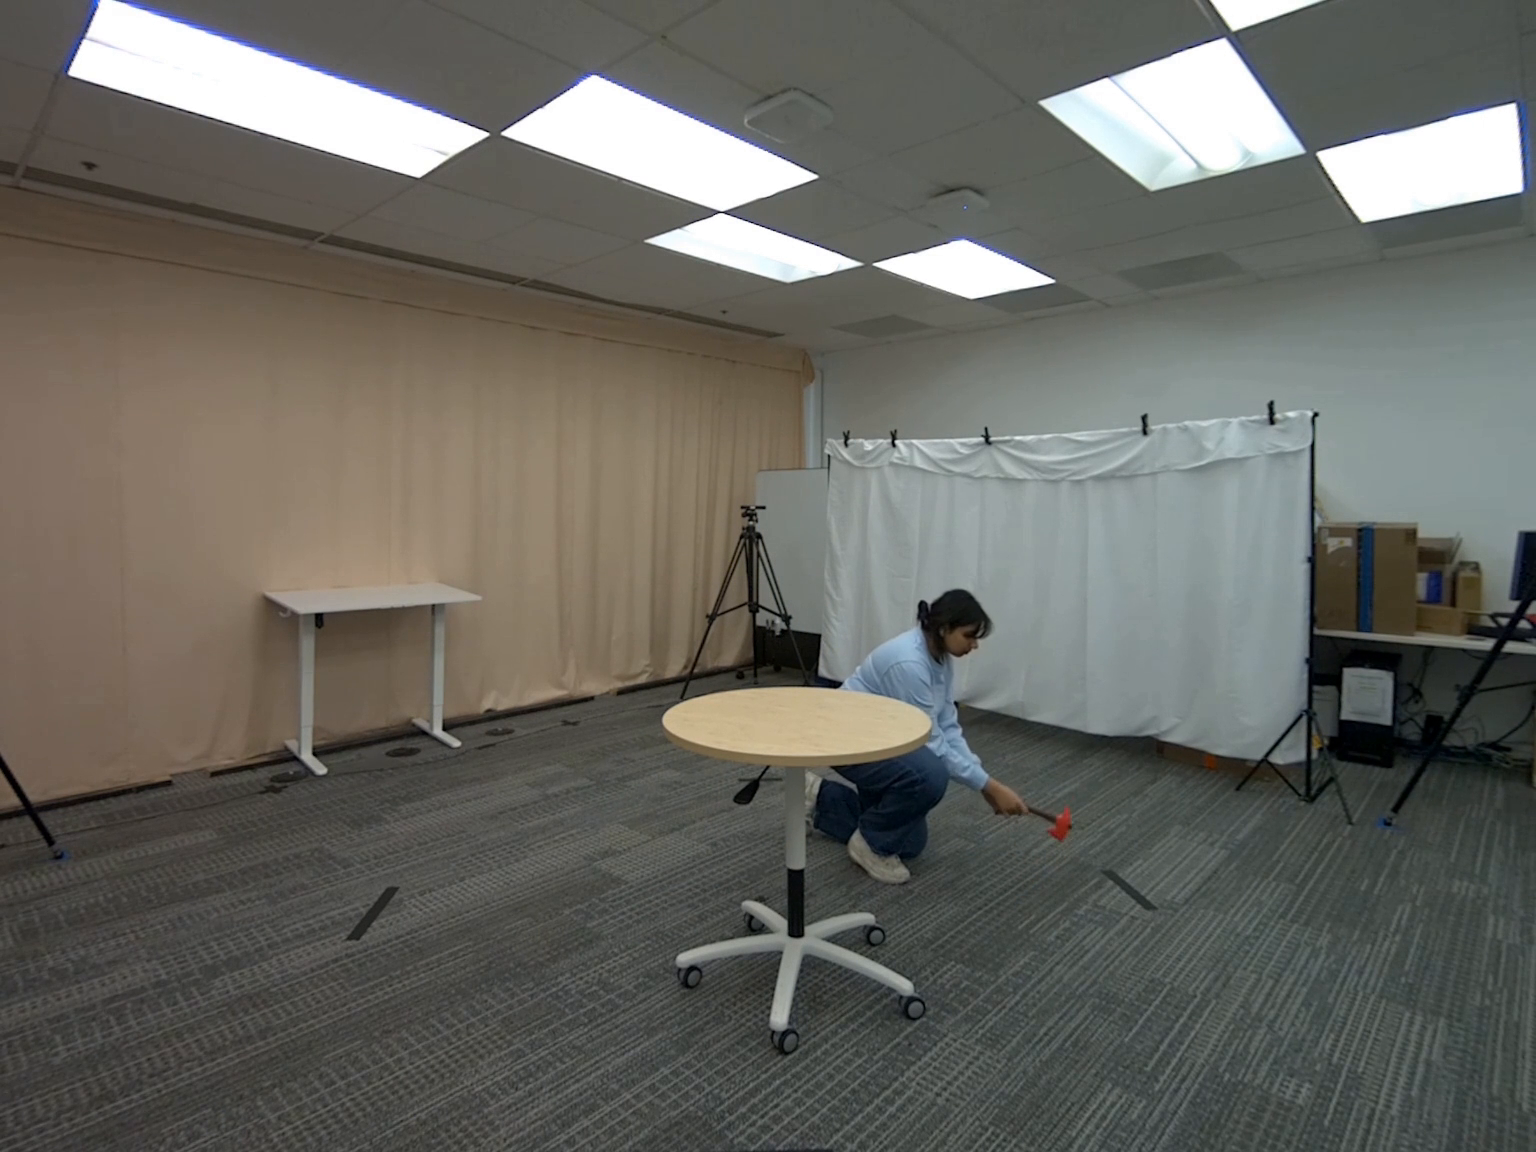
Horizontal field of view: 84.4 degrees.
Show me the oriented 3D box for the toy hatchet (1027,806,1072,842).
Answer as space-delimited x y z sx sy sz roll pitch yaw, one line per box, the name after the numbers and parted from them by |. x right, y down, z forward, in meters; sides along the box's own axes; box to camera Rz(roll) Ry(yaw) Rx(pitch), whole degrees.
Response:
0.964 0.876 3.008 0.029 0.131 0.276 -11 -5 -43 | toy hatchet
